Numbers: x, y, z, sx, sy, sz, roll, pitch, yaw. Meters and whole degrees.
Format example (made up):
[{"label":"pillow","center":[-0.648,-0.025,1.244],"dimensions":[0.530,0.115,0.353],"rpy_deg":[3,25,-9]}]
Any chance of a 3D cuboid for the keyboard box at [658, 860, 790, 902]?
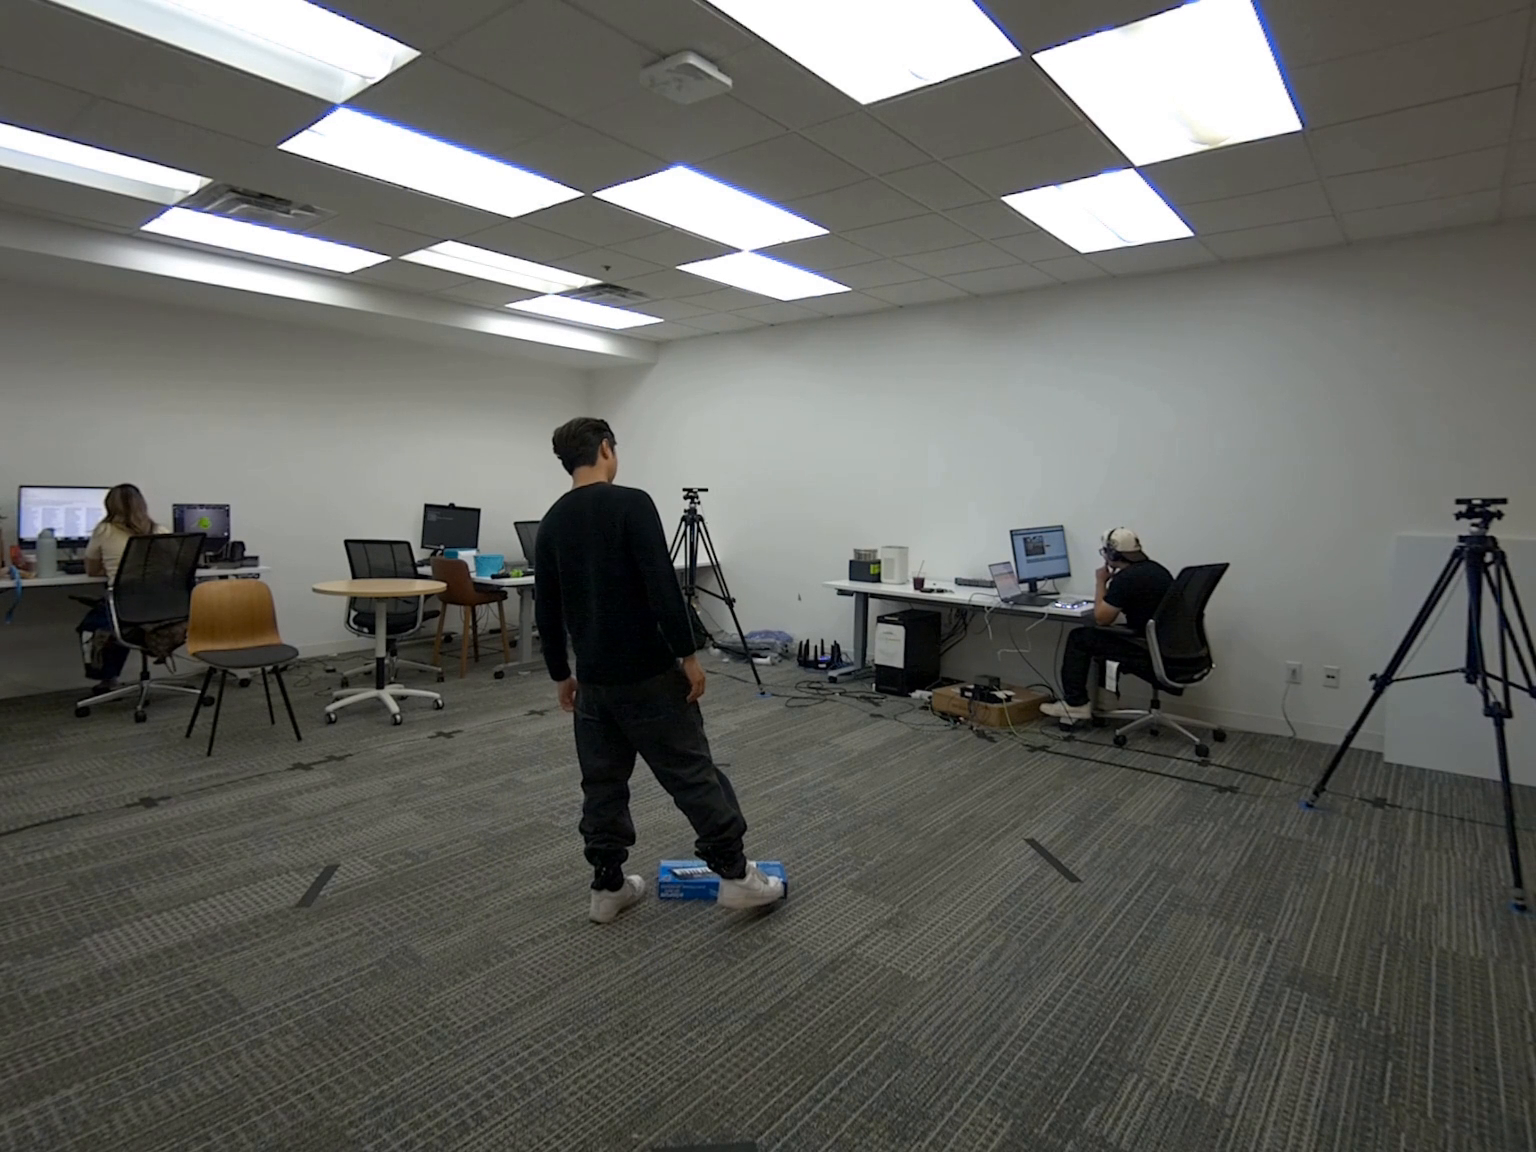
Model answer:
[{"label":"keyboard box","center":[-0.173,1.052,2.969],"dimensions":[0.436,0.059,0.177],"rpy_deg":[1,5,-3]}]
